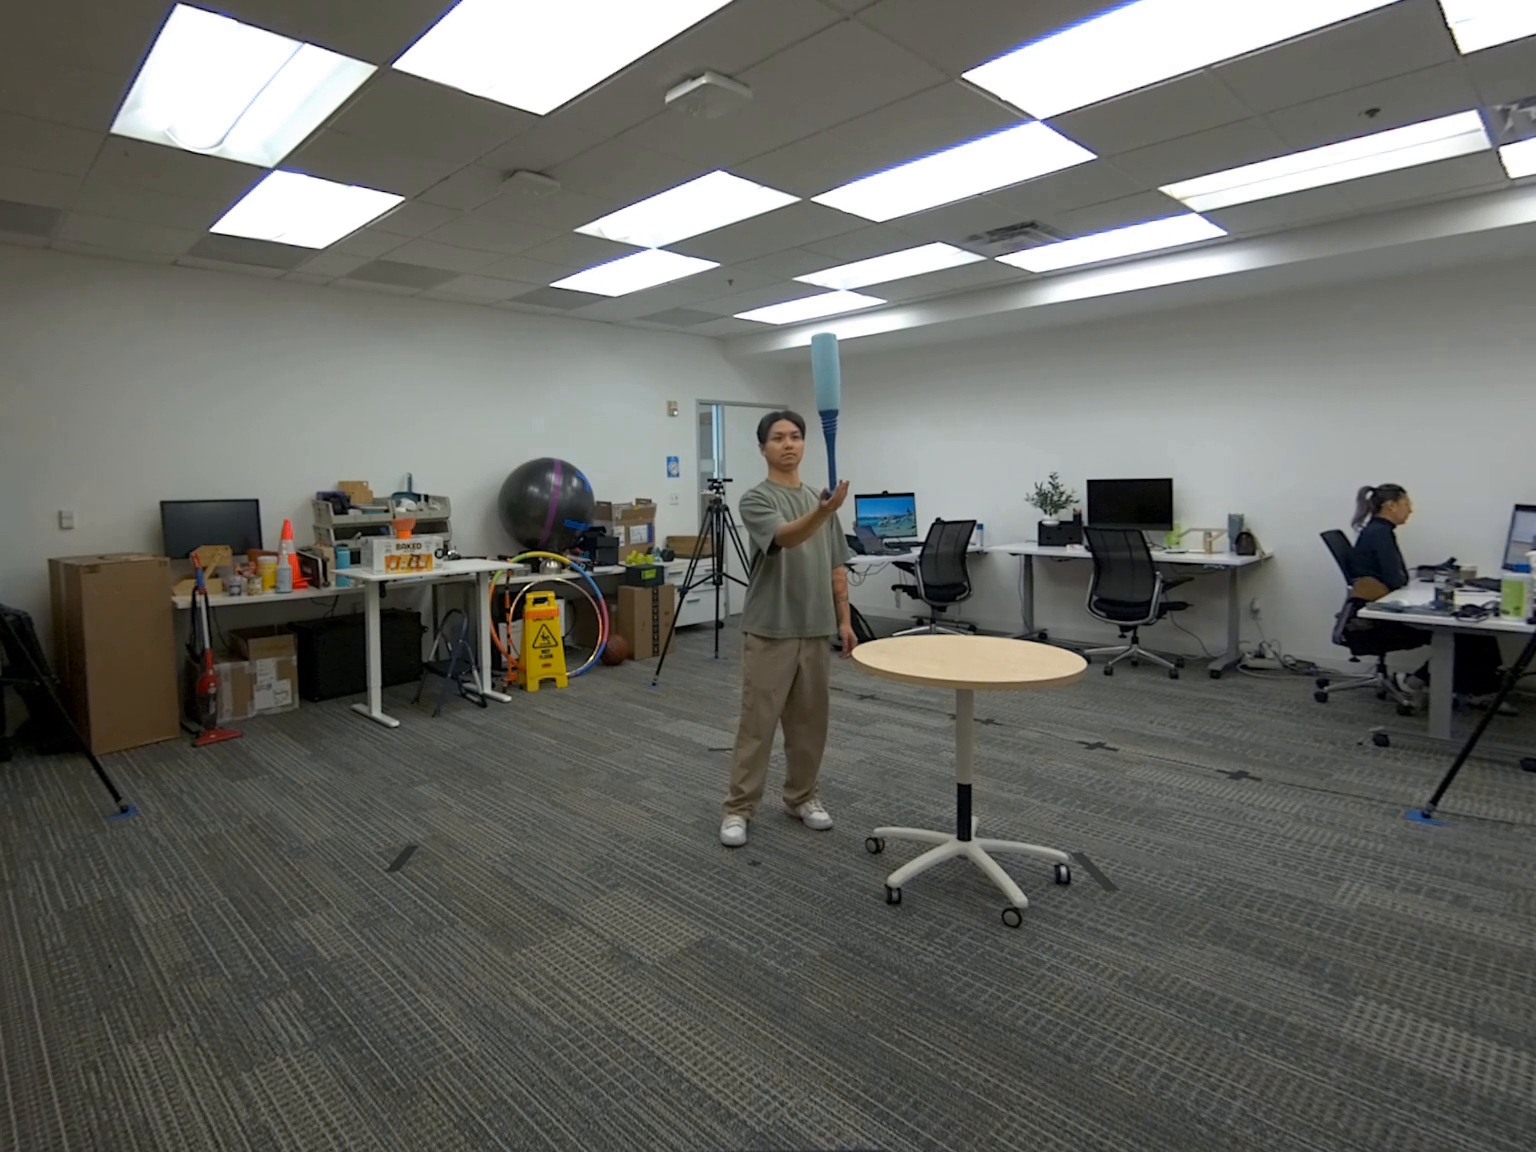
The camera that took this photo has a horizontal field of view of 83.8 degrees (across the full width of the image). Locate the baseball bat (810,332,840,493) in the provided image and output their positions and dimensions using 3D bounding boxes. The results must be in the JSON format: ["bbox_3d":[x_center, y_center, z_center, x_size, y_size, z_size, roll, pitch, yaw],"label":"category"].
[{"bbox_3d":[0.193,-0.524,2.807,0.089,0.540,0.089,-3,6,-1],"label":"baseball bat"}]
